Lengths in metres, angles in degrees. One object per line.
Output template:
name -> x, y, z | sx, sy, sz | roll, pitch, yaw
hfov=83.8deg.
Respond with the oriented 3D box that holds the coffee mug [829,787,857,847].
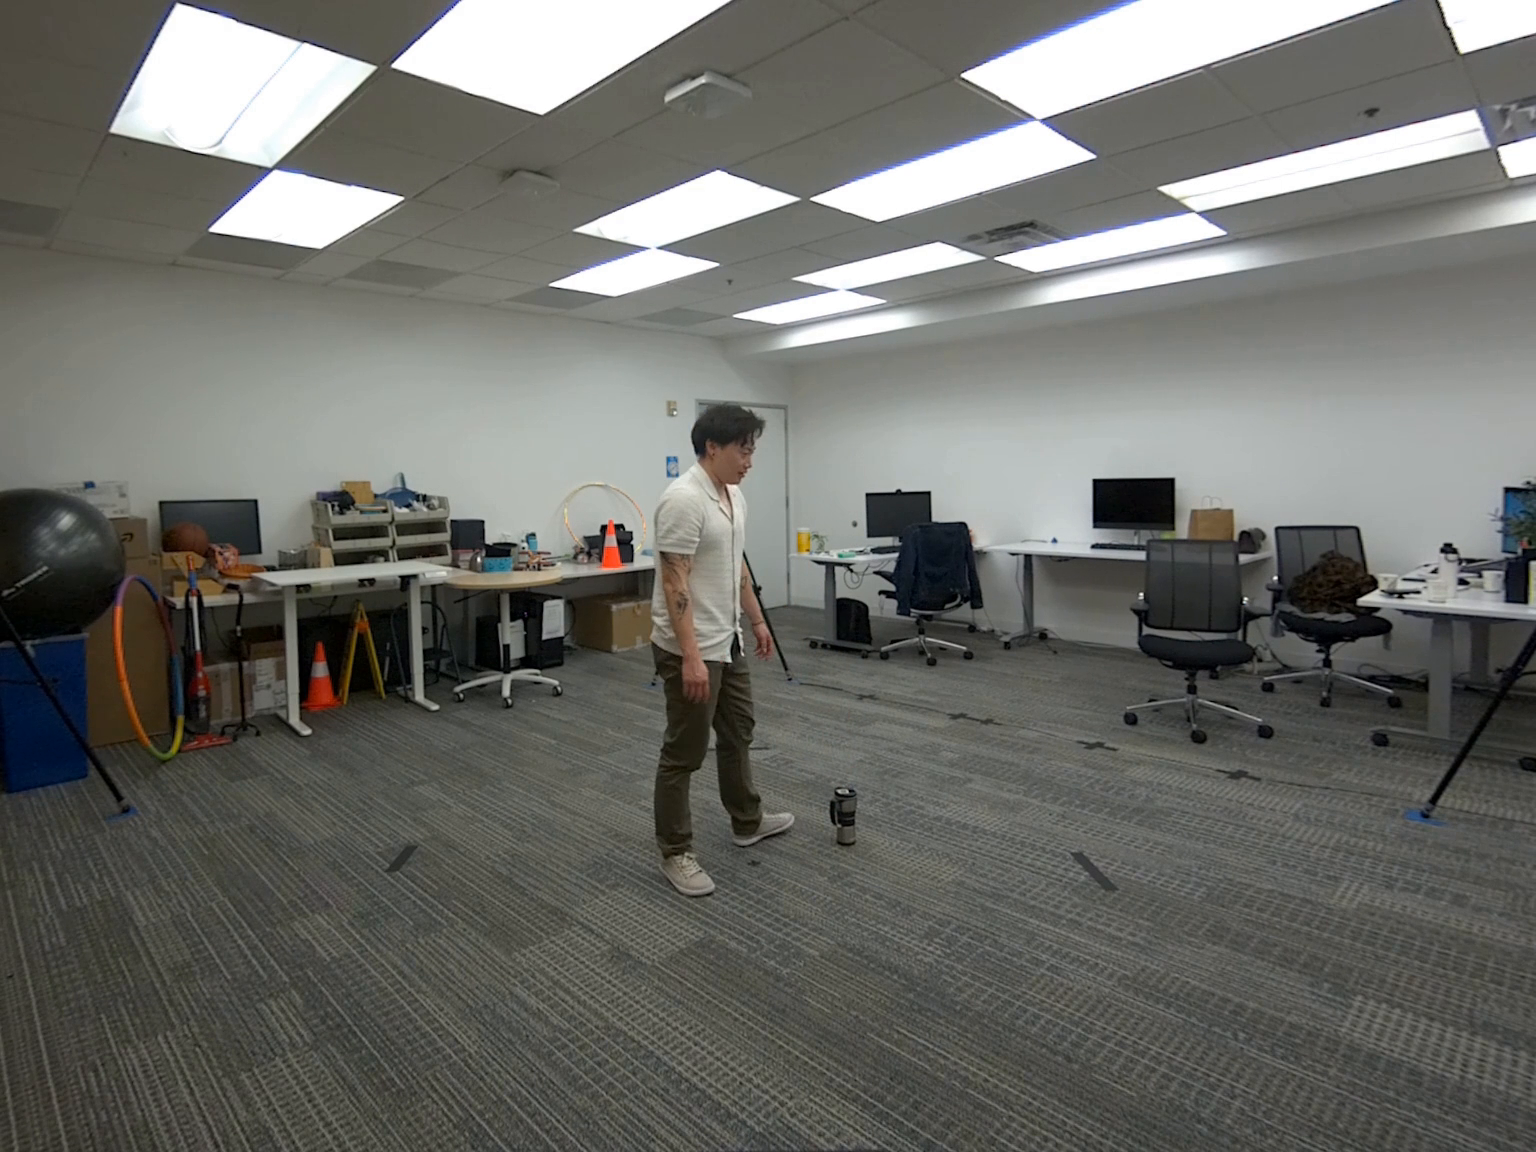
coffee mug -> 0.276, 0.916, 3.258 | 0.120, 0.202, 0.090 | 2, 6, -18
